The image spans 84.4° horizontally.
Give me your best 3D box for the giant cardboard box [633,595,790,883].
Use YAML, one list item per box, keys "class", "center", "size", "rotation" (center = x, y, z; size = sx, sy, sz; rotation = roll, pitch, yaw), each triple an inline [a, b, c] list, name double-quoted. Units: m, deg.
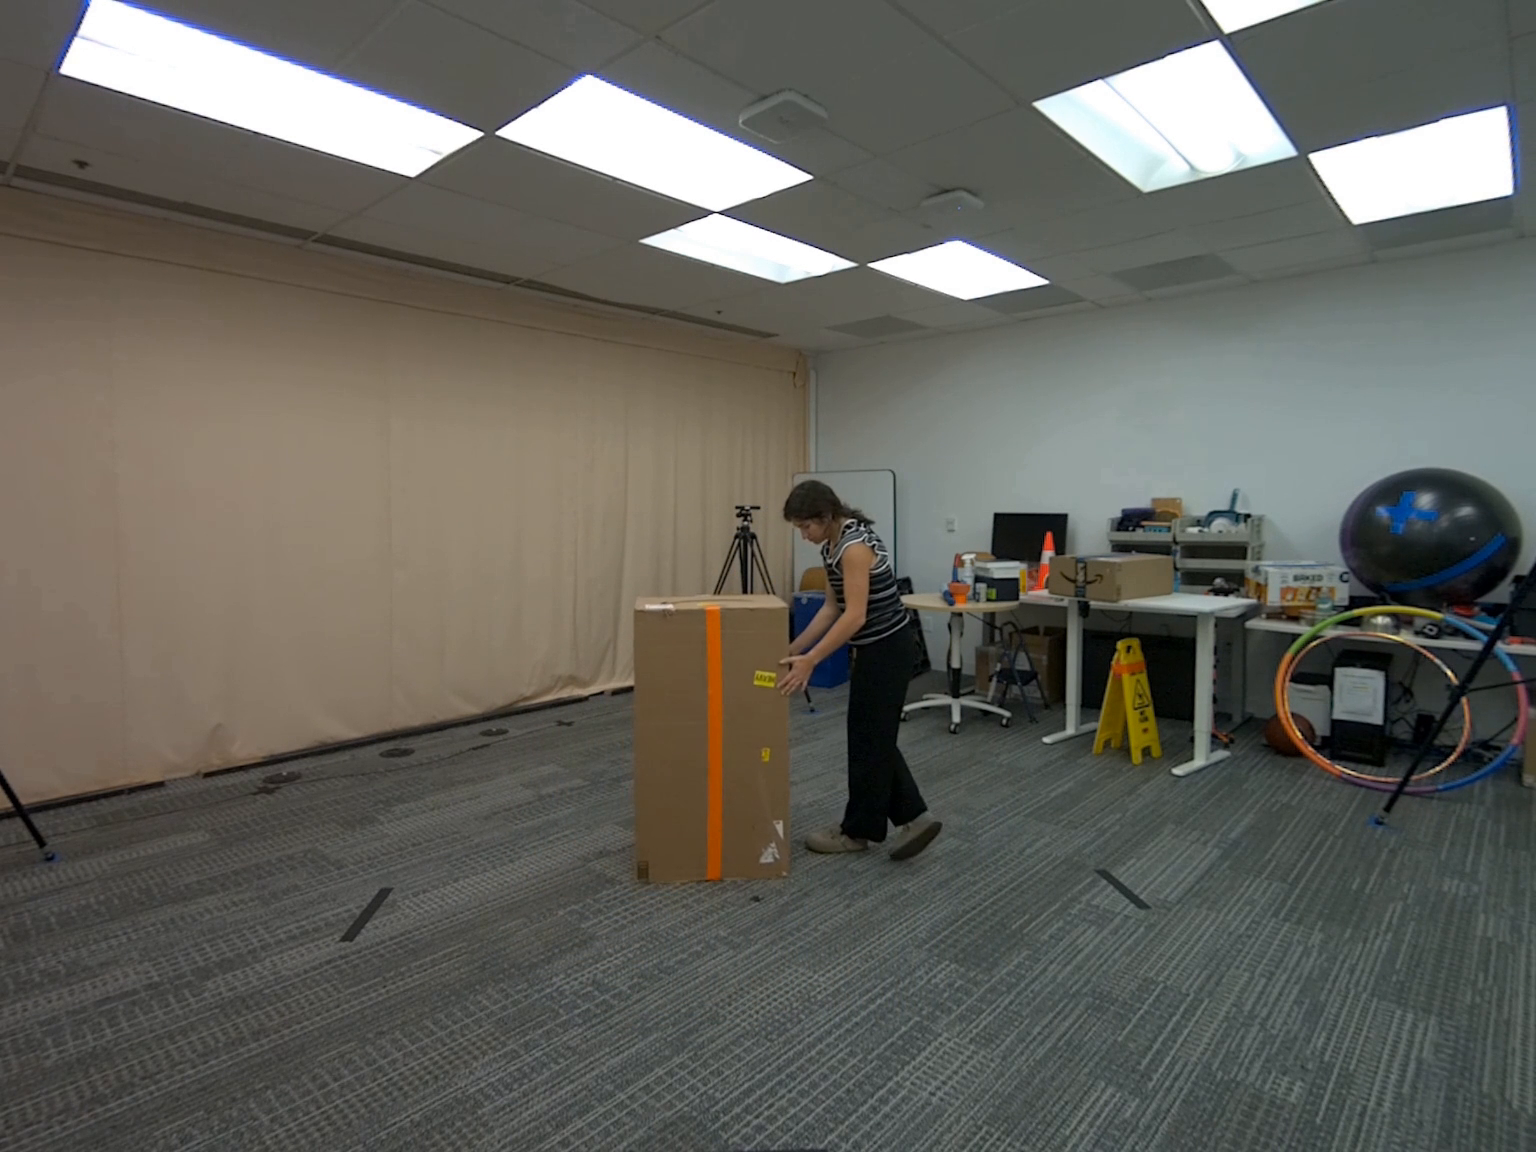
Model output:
- class: "giant cardboard box"
  center: [-0.229, 0.607, 3.317]
  size: [0.575, 1.024, 0.429]
  rotation: [0, 3, -5]
